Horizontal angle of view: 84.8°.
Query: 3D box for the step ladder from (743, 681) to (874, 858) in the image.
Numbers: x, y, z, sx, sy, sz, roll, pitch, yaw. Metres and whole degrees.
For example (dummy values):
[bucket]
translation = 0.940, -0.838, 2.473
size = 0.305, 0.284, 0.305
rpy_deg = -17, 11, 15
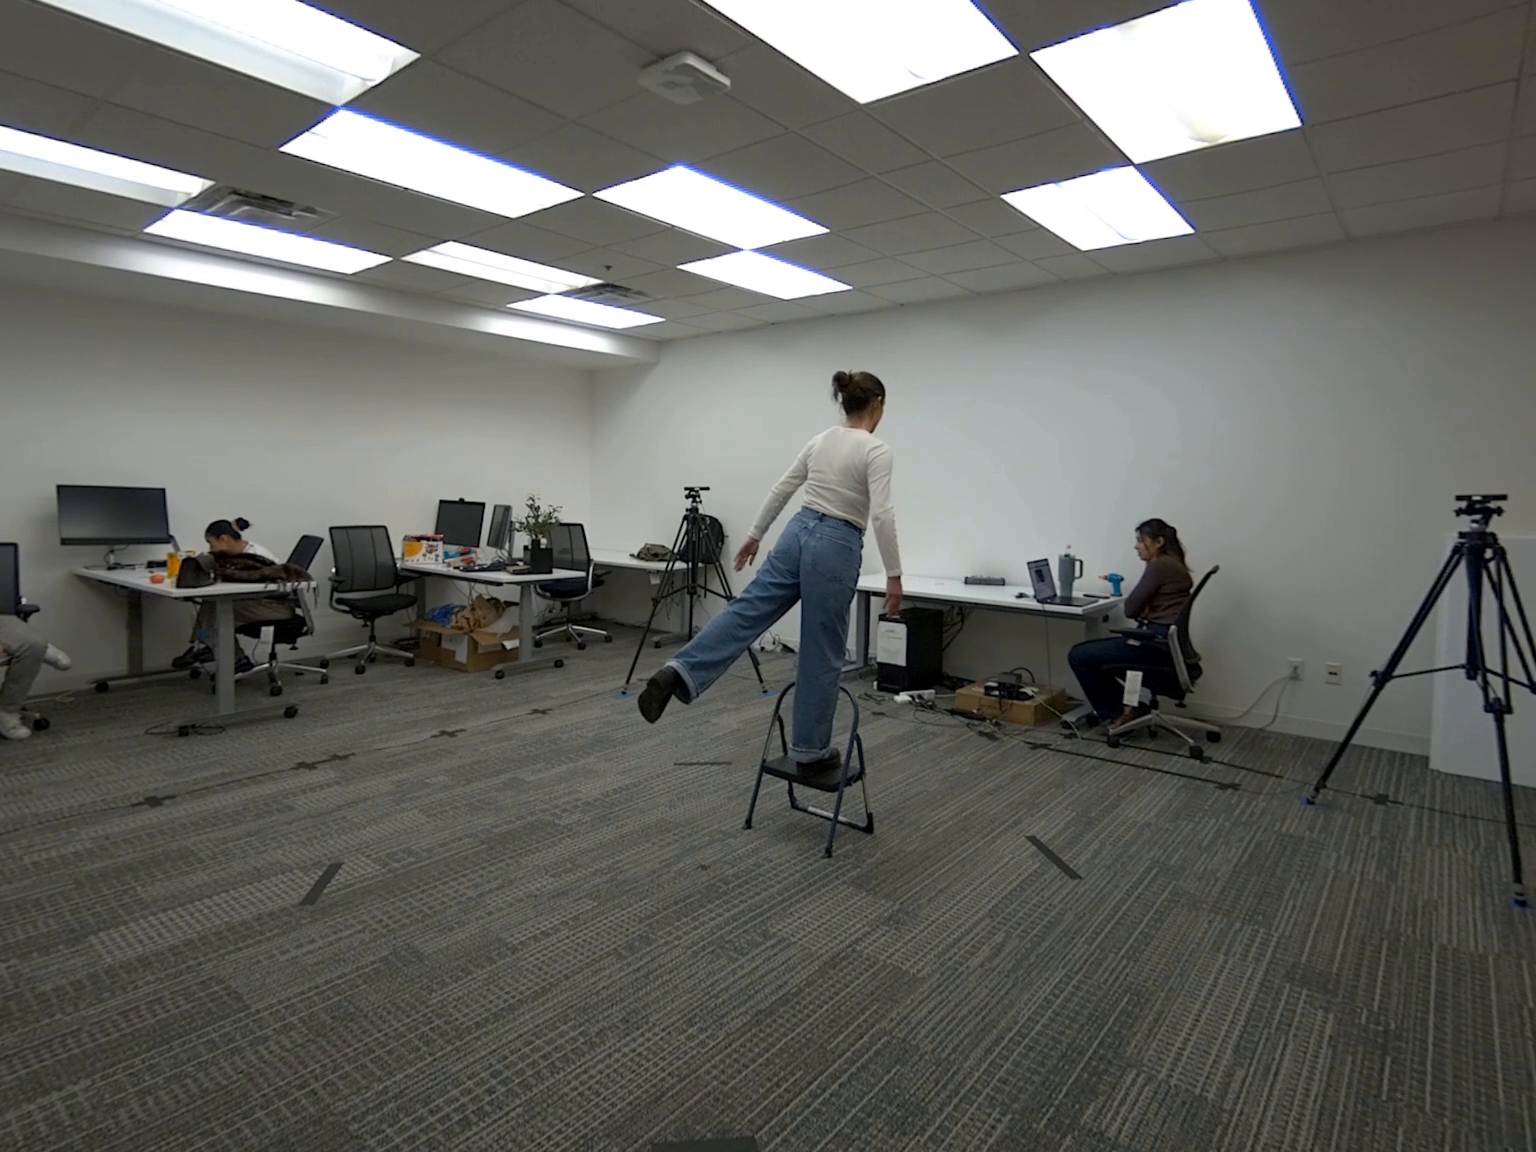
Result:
[step ladder]
translation = 0.166, 0.734, 3.463
size = 0.445, 0.604, 0.339
rpy_deg = 4, 4, 39
